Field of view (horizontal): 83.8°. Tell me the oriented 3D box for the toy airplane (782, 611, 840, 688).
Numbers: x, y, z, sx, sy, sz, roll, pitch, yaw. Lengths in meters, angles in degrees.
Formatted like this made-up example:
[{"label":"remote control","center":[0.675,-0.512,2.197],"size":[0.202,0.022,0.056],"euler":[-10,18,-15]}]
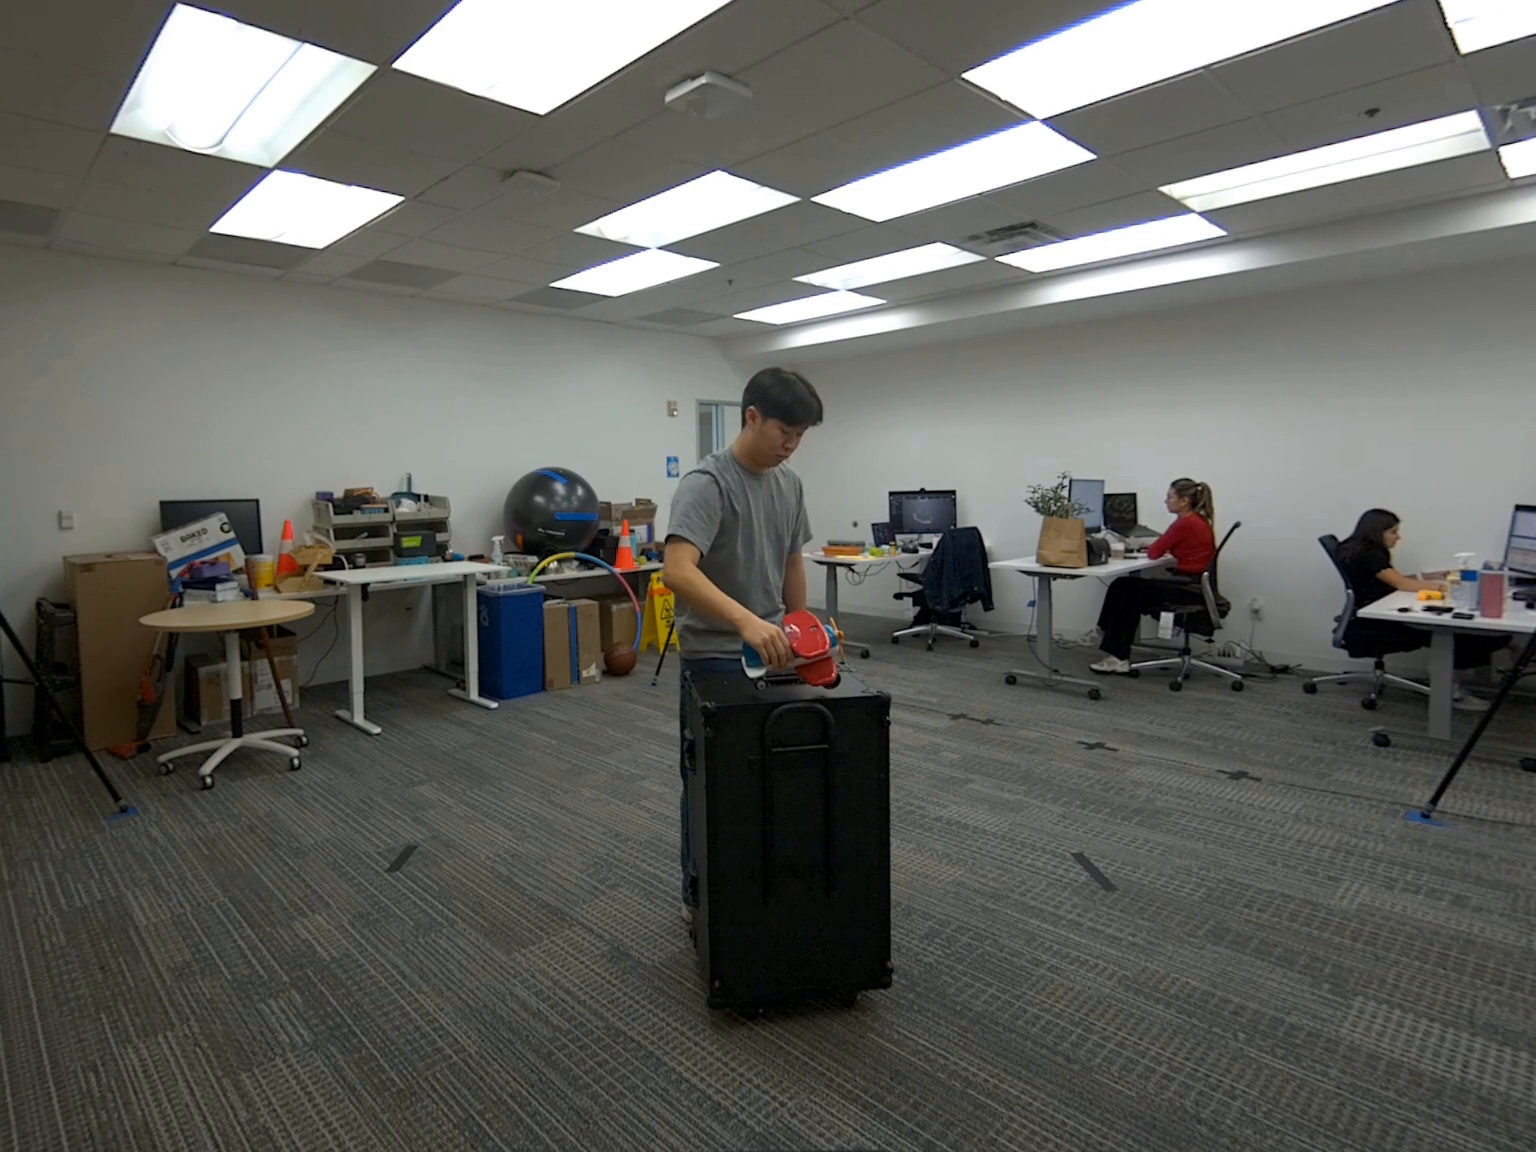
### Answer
[{"label":"toy airplane","center":[0.074,0.211,2.164],"size":[0.254,0.154,0.260],"euler":[-14,23,-37]}]
